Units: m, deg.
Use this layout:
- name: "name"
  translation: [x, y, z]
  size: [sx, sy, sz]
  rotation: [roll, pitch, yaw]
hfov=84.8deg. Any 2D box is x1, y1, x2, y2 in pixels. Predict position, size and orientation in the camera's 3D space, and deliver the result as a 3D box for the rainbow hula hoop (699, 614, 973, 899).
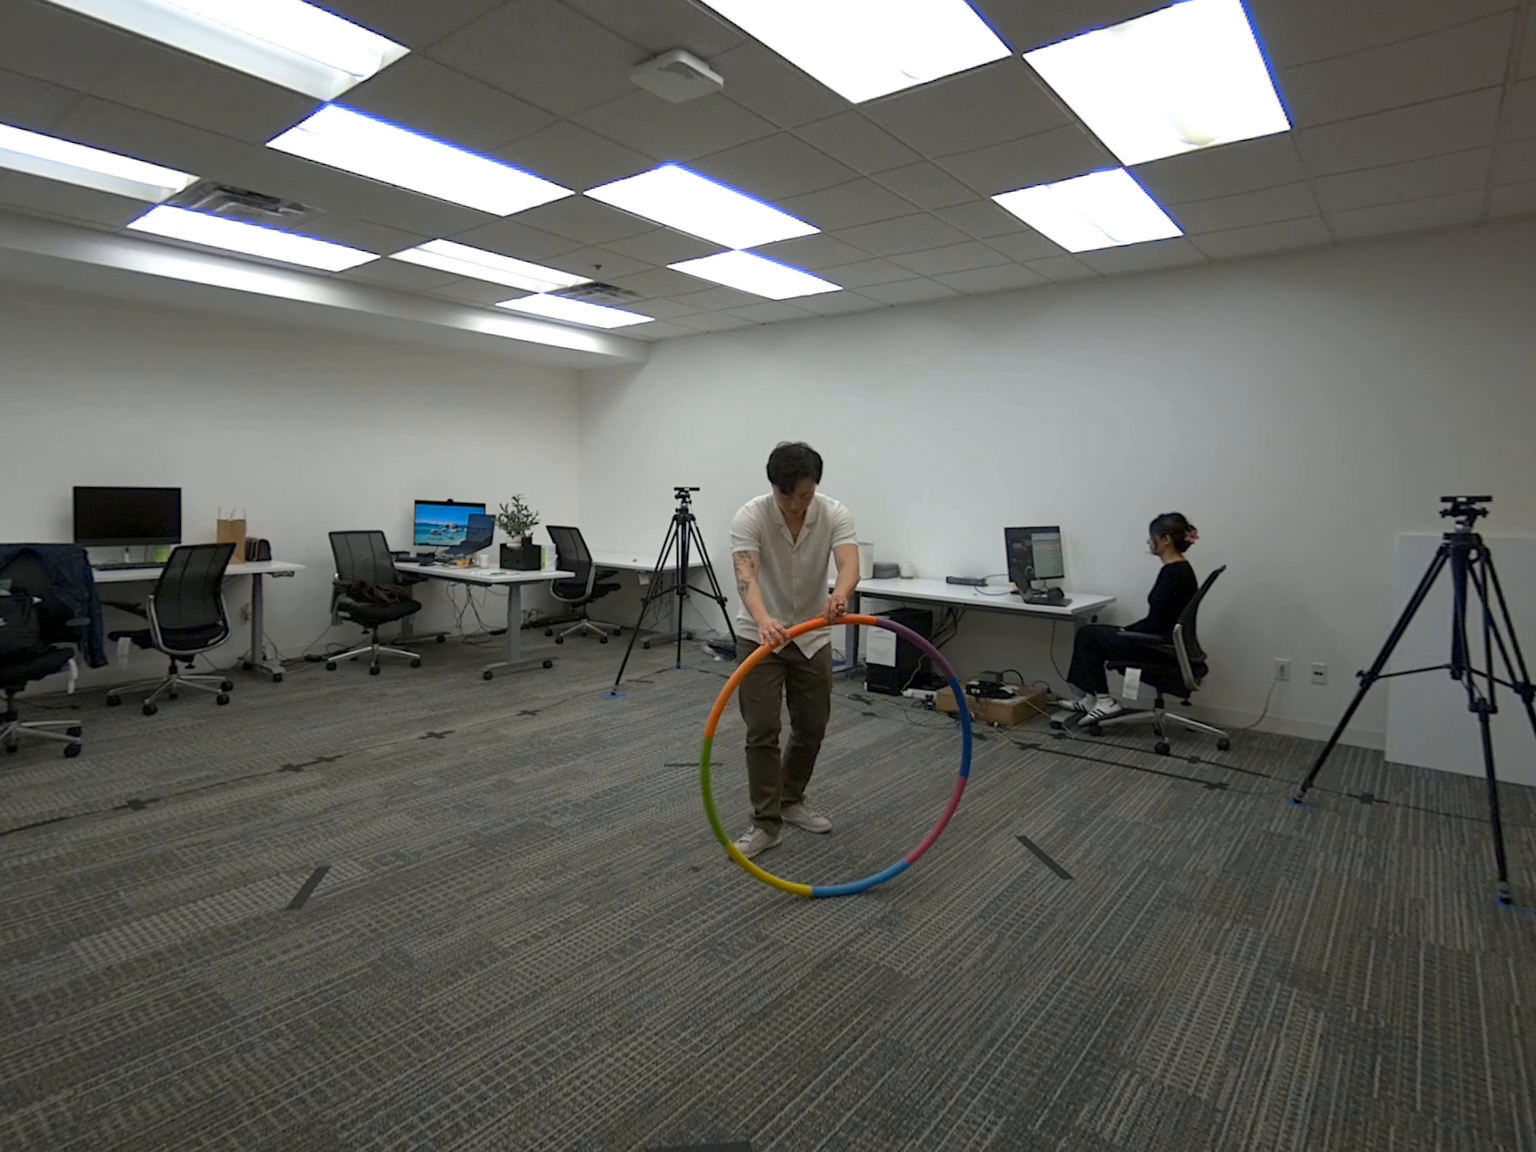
- name: "rainbow hula hoop"
  translation: [0.242, 0.612, 2.891]
  size: [0.962, 0.975, 0.036]
  rotation: [0, 4, -16]
